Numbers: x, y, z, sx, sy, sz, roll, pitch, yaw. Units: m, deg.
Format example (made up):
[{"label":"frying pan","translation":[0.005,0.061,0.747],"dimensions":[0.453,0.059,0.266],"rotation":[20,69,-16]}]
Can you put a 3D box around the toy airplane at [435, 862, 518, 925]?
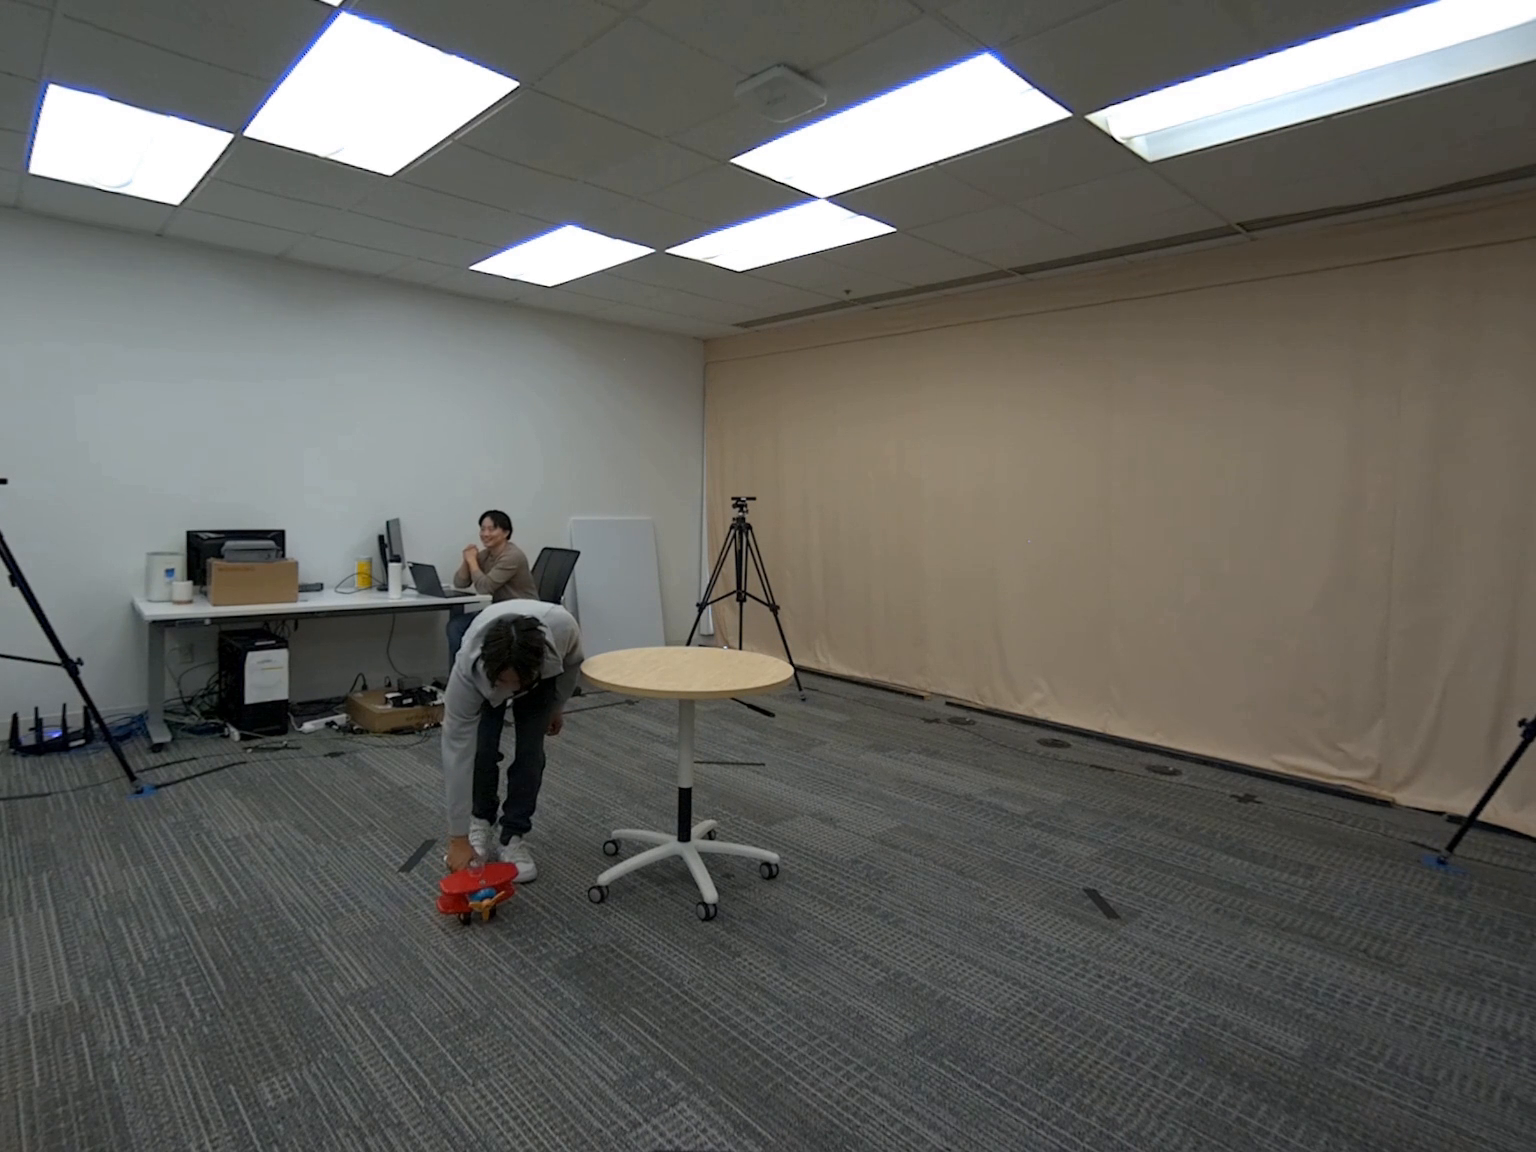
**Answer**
[{"label":"toy airplane","translation":[-0.987,1.013,2.752],"dimensions":[0.263,0.155,0.249],"rotation":[33,31,14]}]
